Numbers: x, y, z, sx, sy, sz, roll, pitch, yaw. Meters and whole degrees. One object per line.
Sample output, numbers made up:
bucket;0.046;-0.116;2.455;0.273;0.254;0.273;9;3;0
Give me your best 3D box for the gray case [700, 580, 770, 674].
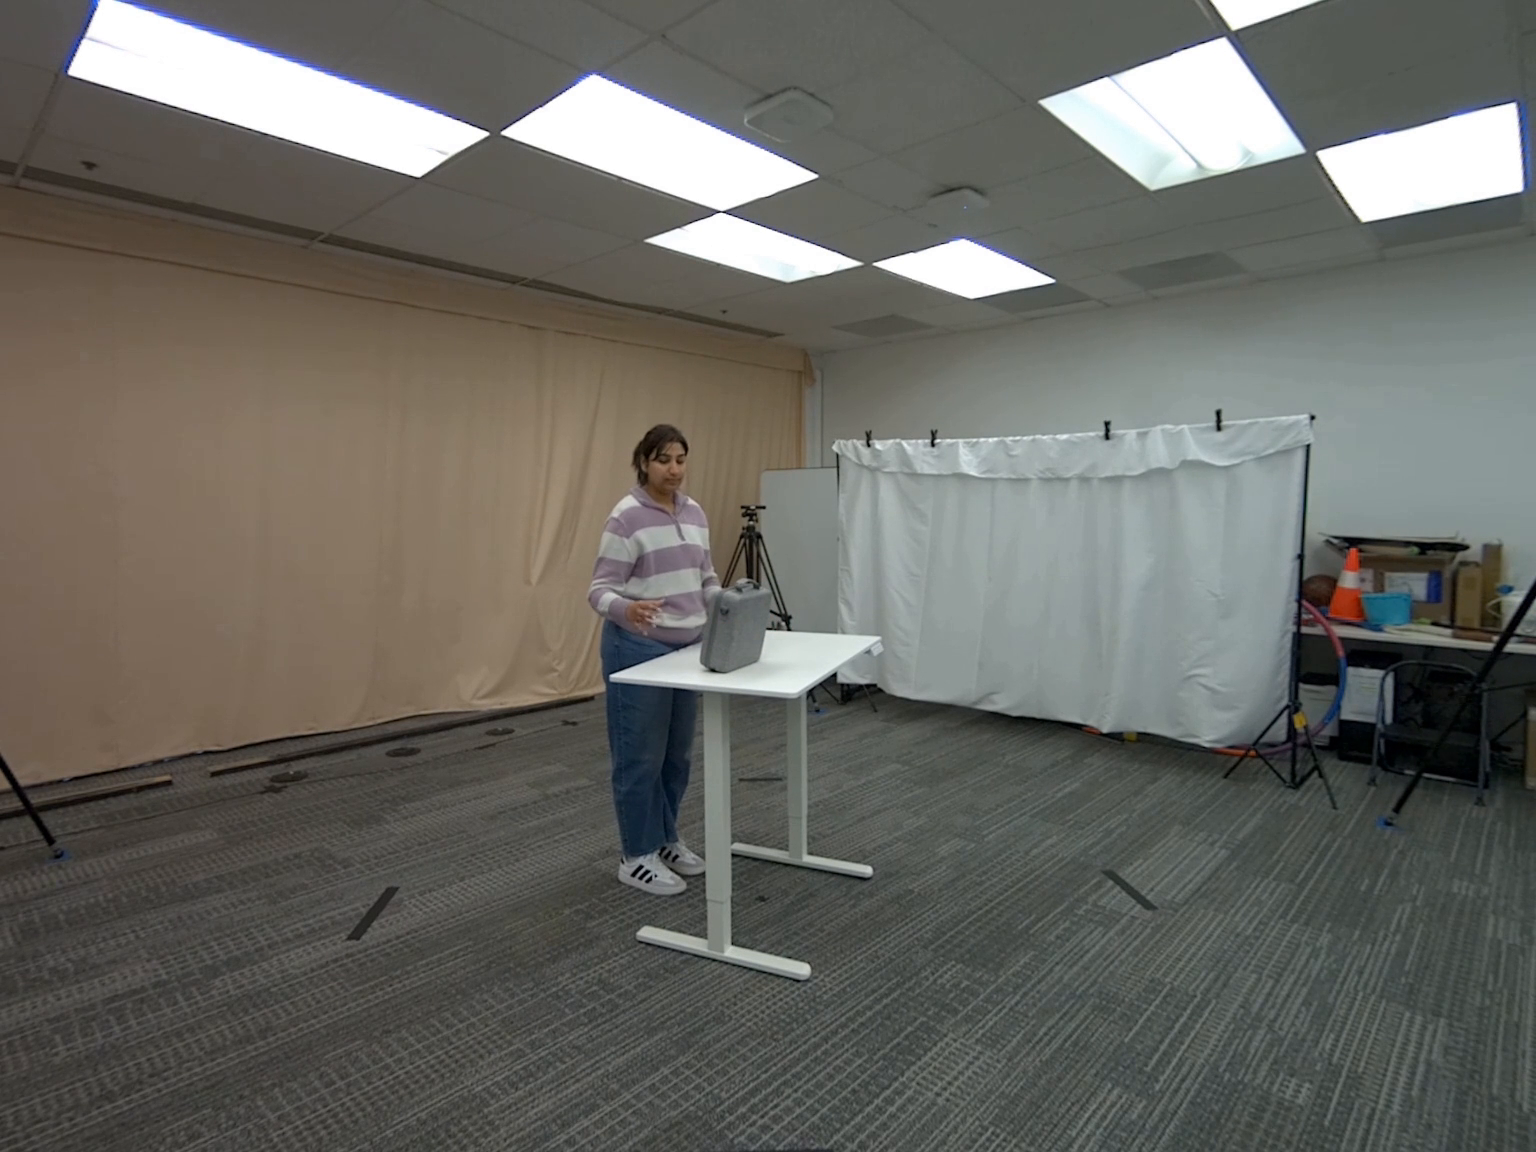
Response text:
gray case;-0.094;0.158;2.666;0.107;0.259;0.251;14;12;26
